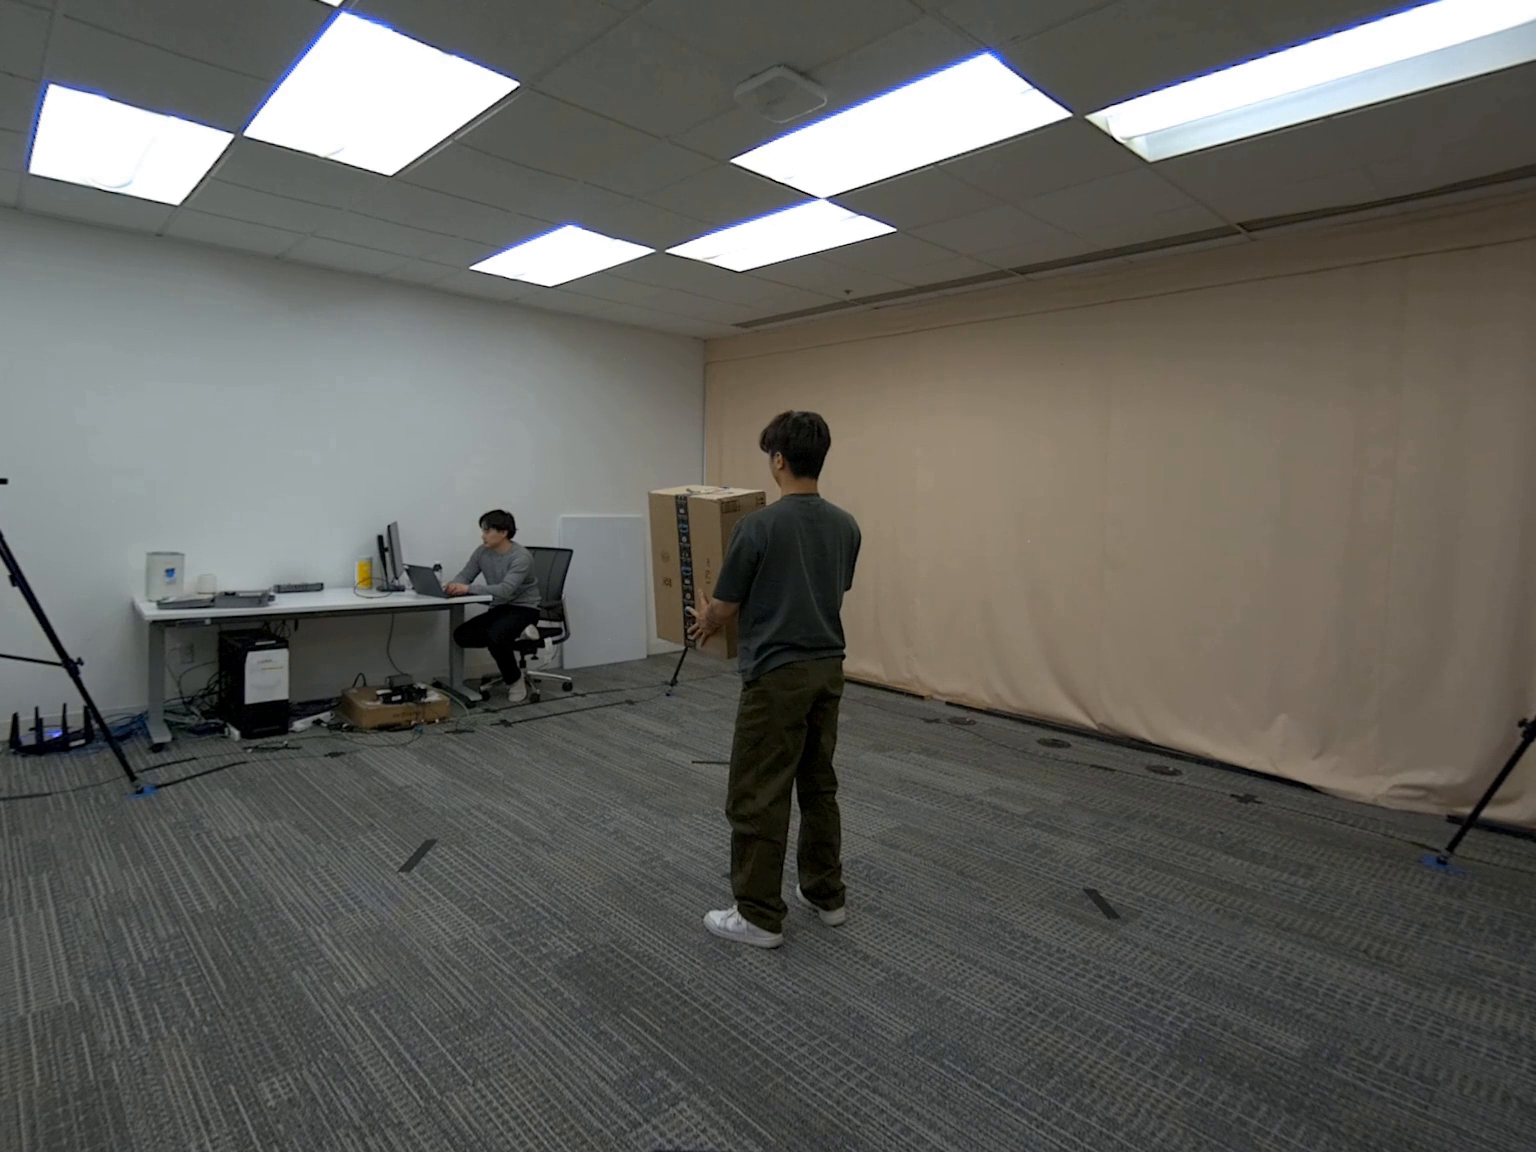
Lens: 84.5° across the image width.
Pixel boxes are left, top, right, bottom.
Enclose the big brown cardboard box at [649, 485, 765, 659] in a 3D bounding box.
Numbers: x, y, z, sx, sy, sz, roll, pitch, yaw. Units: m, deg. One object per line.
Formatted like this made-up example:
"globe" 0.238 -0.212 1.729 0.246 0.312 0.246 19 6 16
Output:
"big brown cardboard box" -0.219 -0.032 3.078 0.228 0.584 0.429 -10 14 -41
